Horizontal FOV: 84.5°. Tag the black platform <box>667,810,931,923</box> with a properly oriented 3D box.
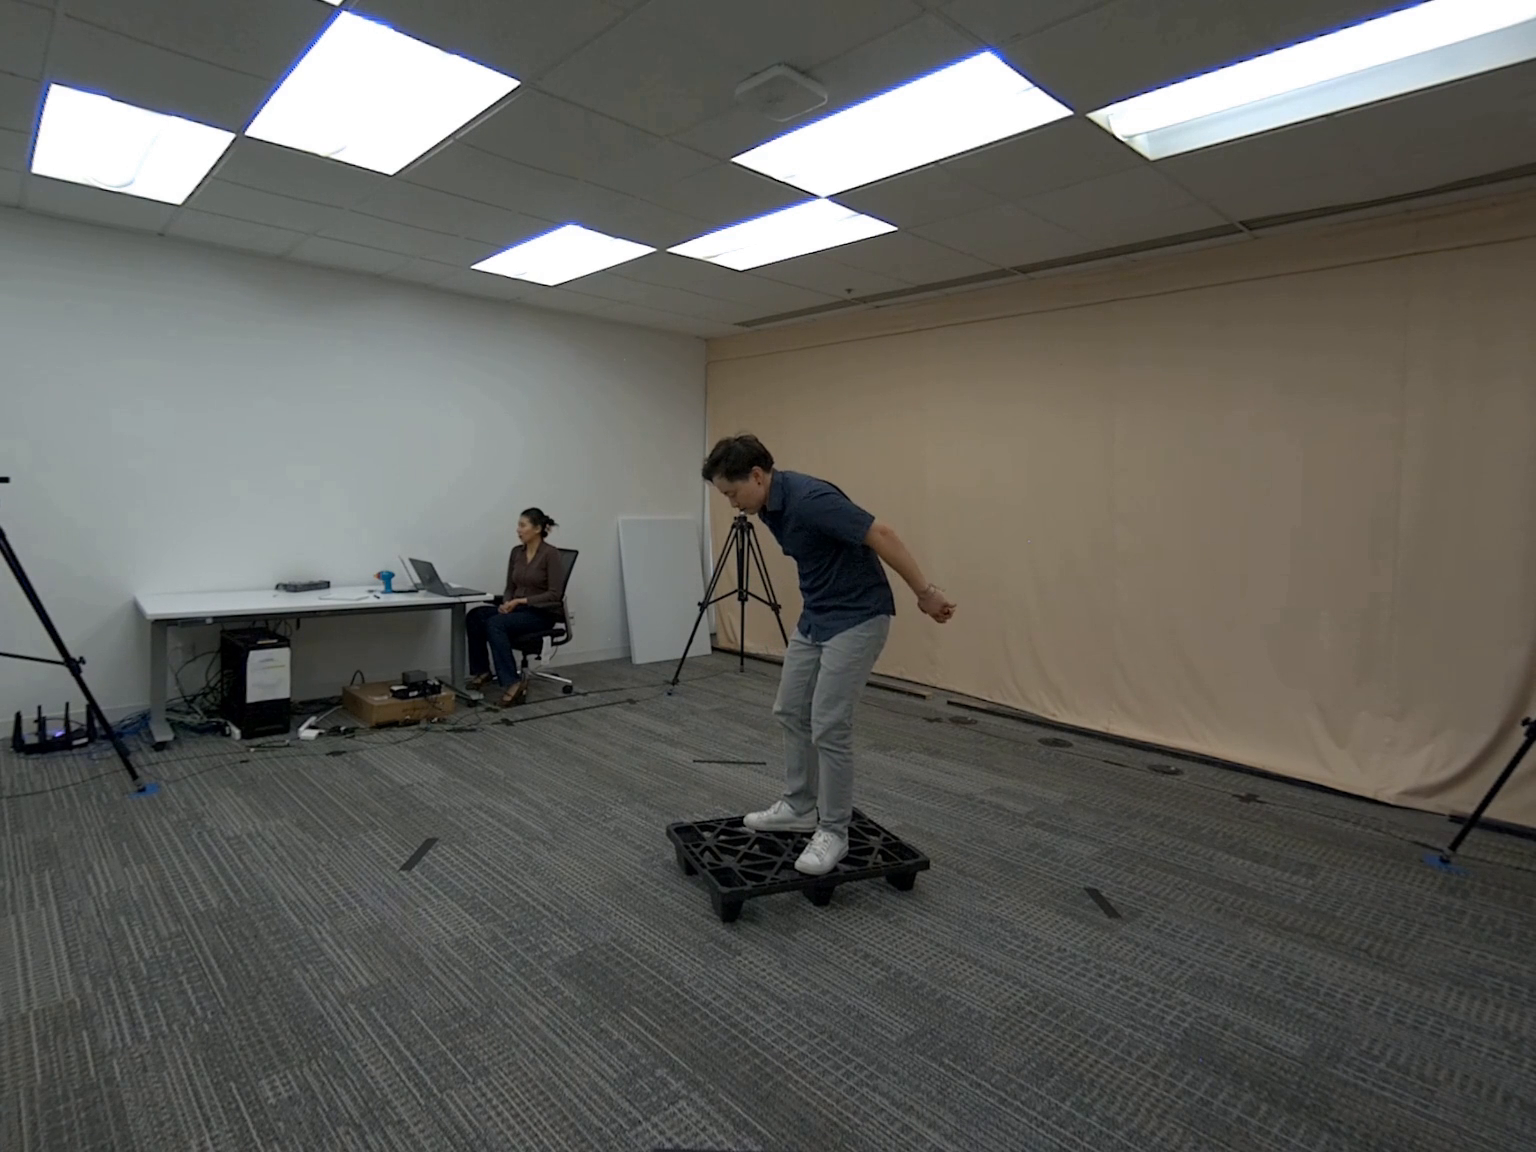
[{"bbox_3d":[0.090,1.041,3.091,0.792,0.143,0.617,-1,6,-23],"label":"black platform"}]
